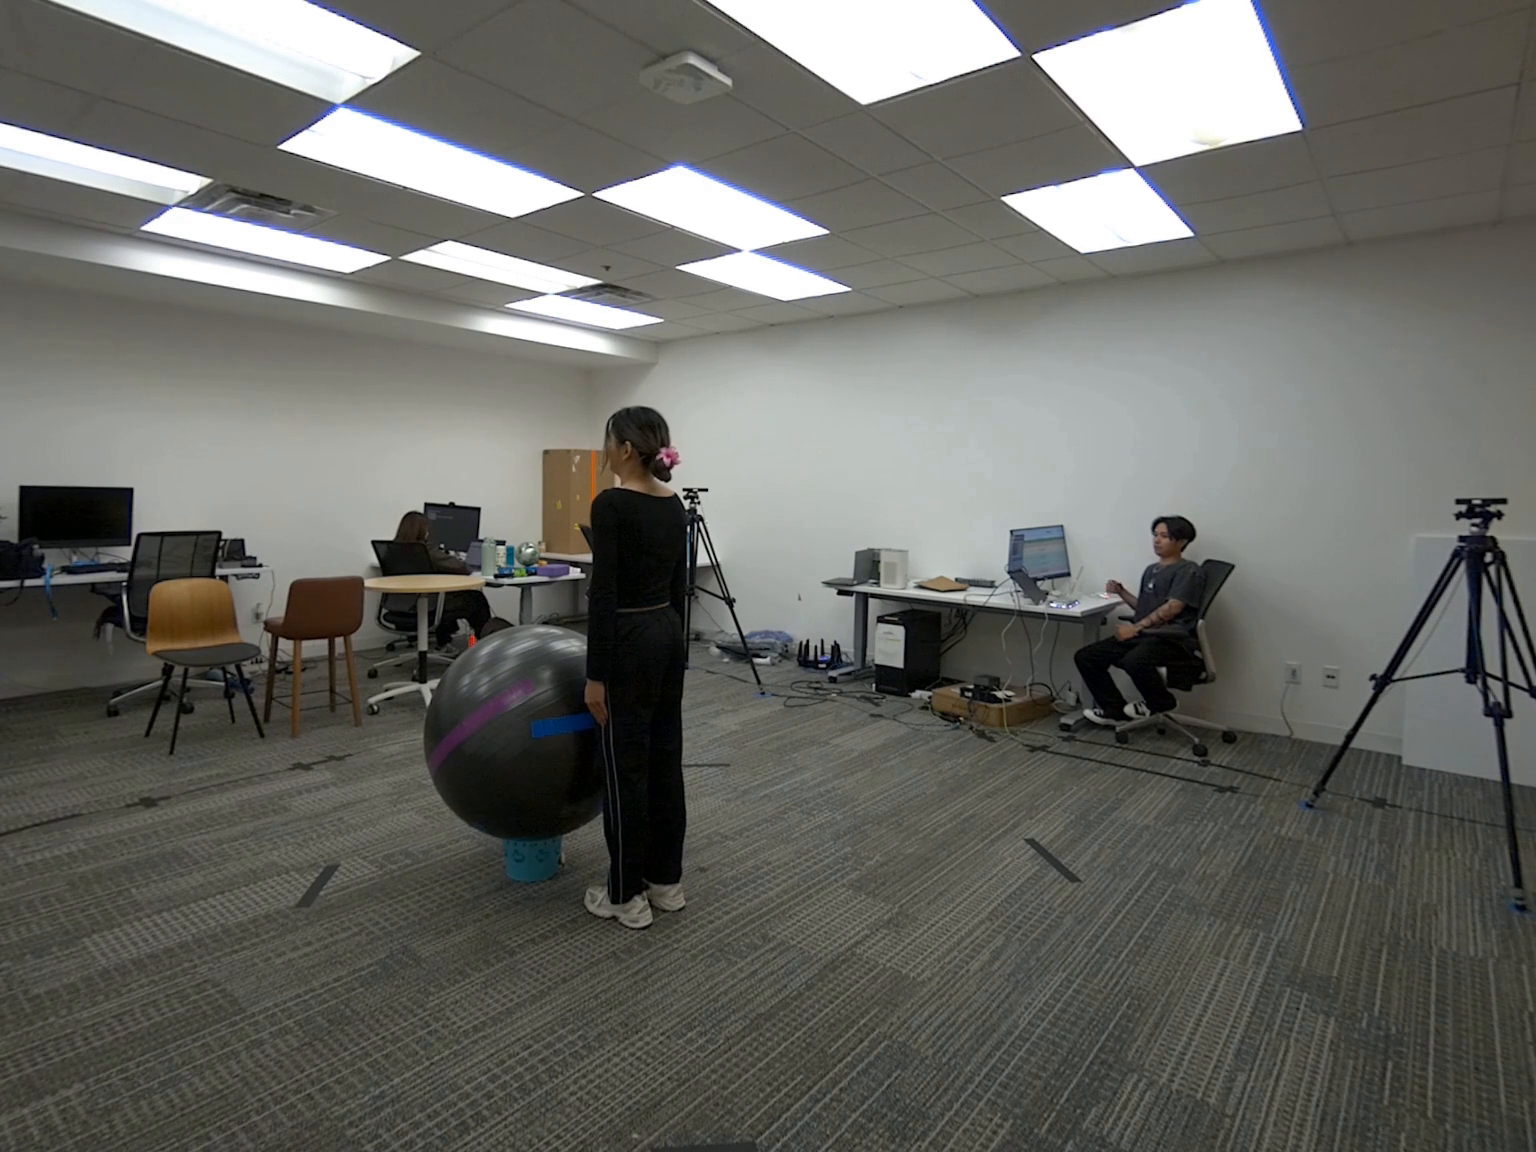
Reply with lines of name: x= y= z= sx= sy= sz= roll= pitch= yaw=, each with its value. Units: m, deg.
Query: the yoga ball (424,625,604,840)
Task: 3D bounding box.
yoga ball: x=-0.863 y=0.558 z=3.061 sx=0.757 sy=0.755 sz=0.762 roll=1 pitch=4 yaw=-2
